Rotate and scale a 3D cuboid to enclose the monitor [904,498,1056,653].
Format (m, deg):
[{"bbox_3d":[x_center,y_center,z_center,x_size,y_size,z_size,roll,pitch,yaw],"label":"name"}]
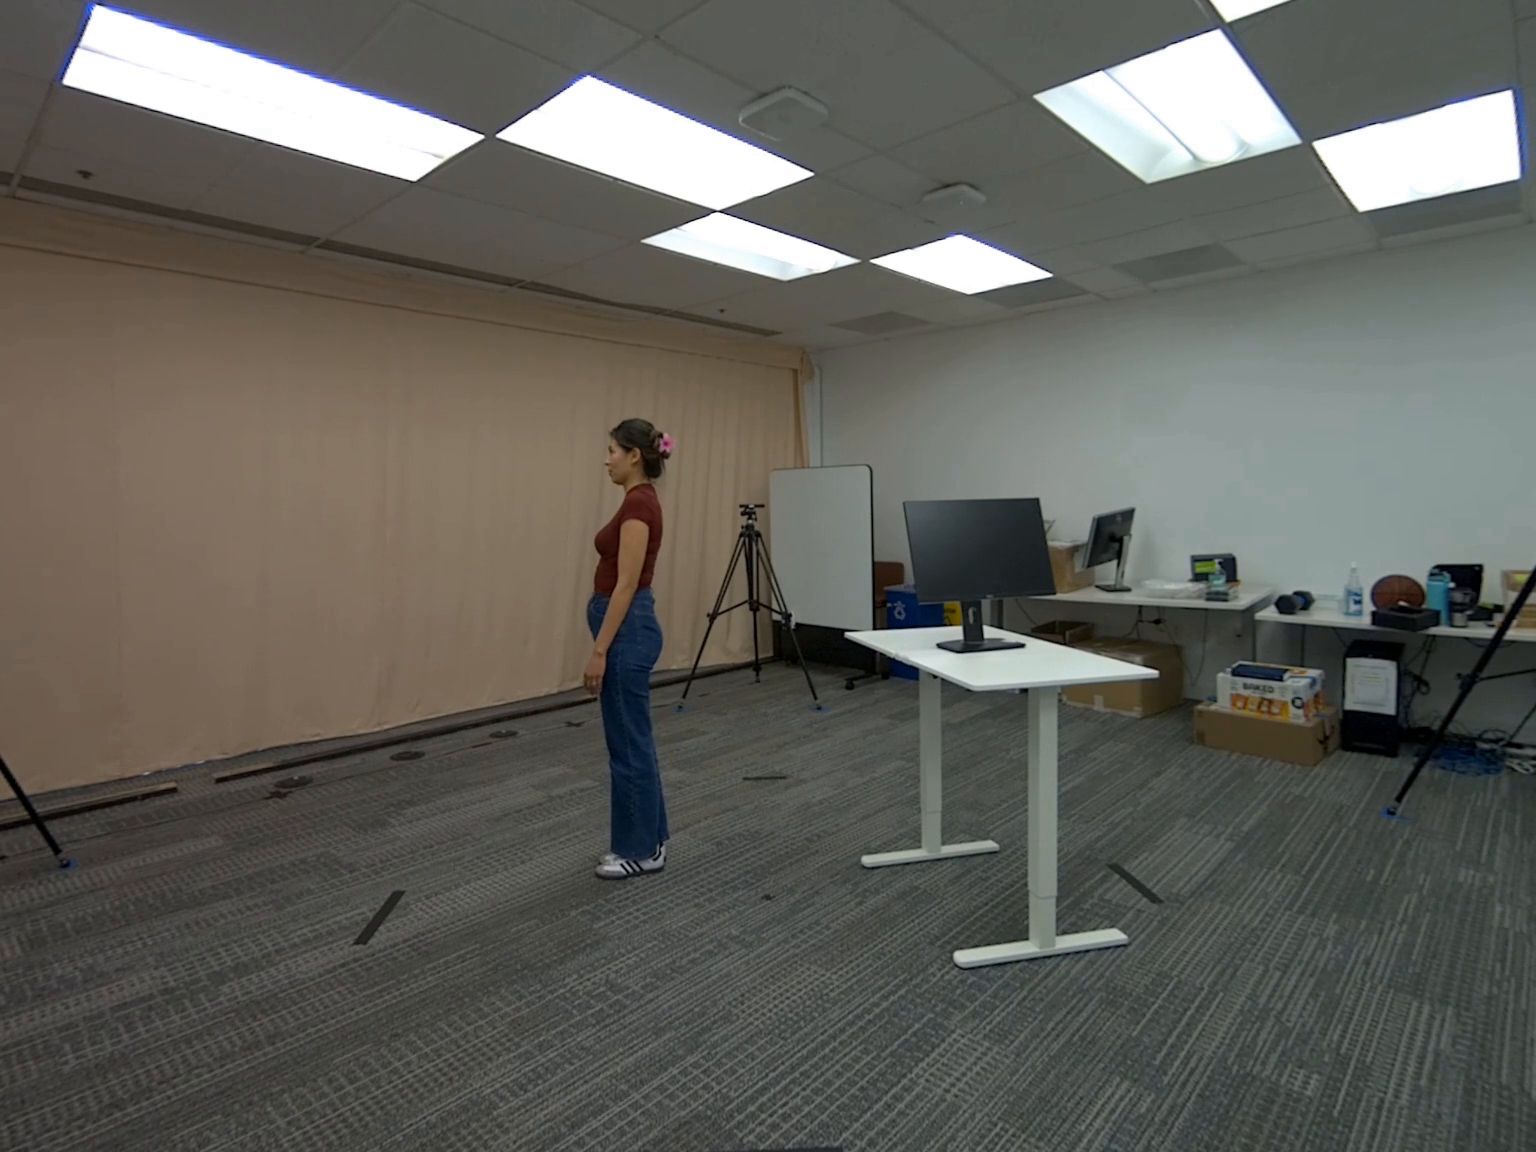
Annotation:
[{"bbox_3d":[0.736,-0.005,2.937,0.529,0.522,0.191,-3,2,-18],"label":"monitor"}]
